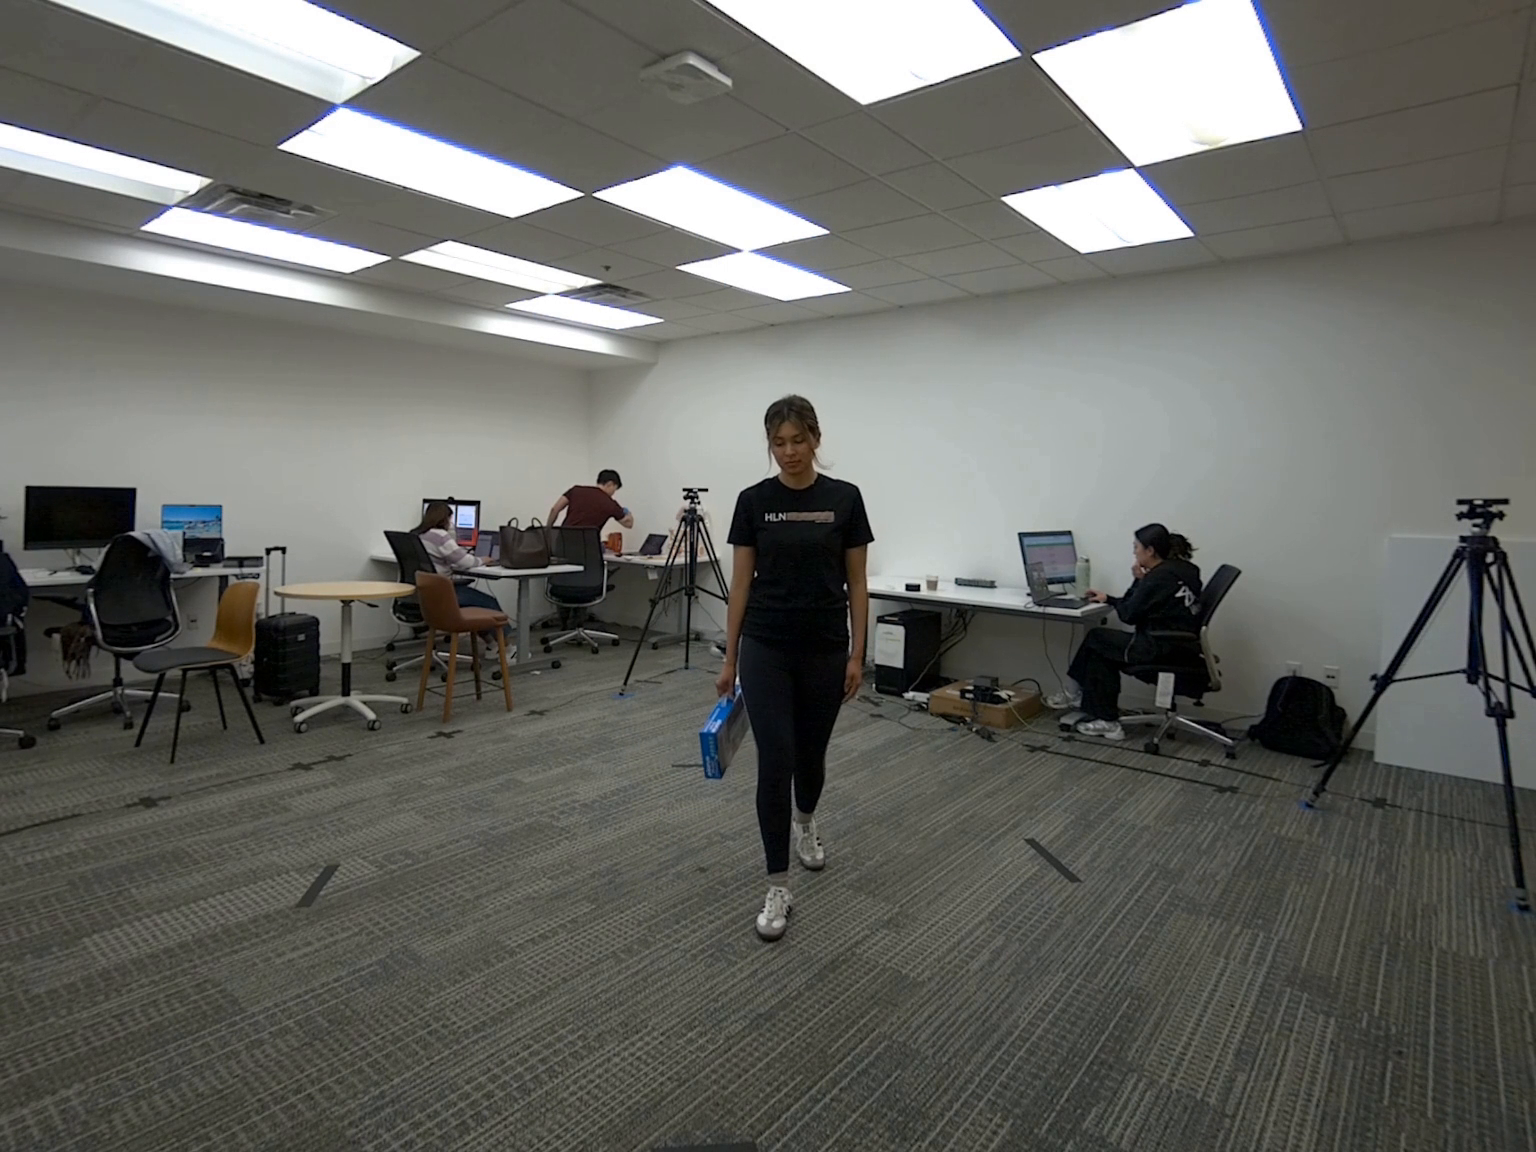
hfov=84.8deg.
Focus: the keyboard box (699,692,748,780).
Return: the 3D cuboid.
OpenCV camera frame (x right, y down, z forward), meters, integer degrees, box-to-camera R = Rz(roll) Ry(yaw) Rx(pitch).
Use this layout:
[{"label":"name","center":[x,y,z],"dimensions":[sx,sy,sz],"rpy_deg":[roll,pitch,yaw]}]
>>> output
[{"label":"keyboard box","center":[-0.137,0.505,2.940],"dimensions":[0.060,0.173,0.437],"rpy_deg":[-1,19,15]}]
